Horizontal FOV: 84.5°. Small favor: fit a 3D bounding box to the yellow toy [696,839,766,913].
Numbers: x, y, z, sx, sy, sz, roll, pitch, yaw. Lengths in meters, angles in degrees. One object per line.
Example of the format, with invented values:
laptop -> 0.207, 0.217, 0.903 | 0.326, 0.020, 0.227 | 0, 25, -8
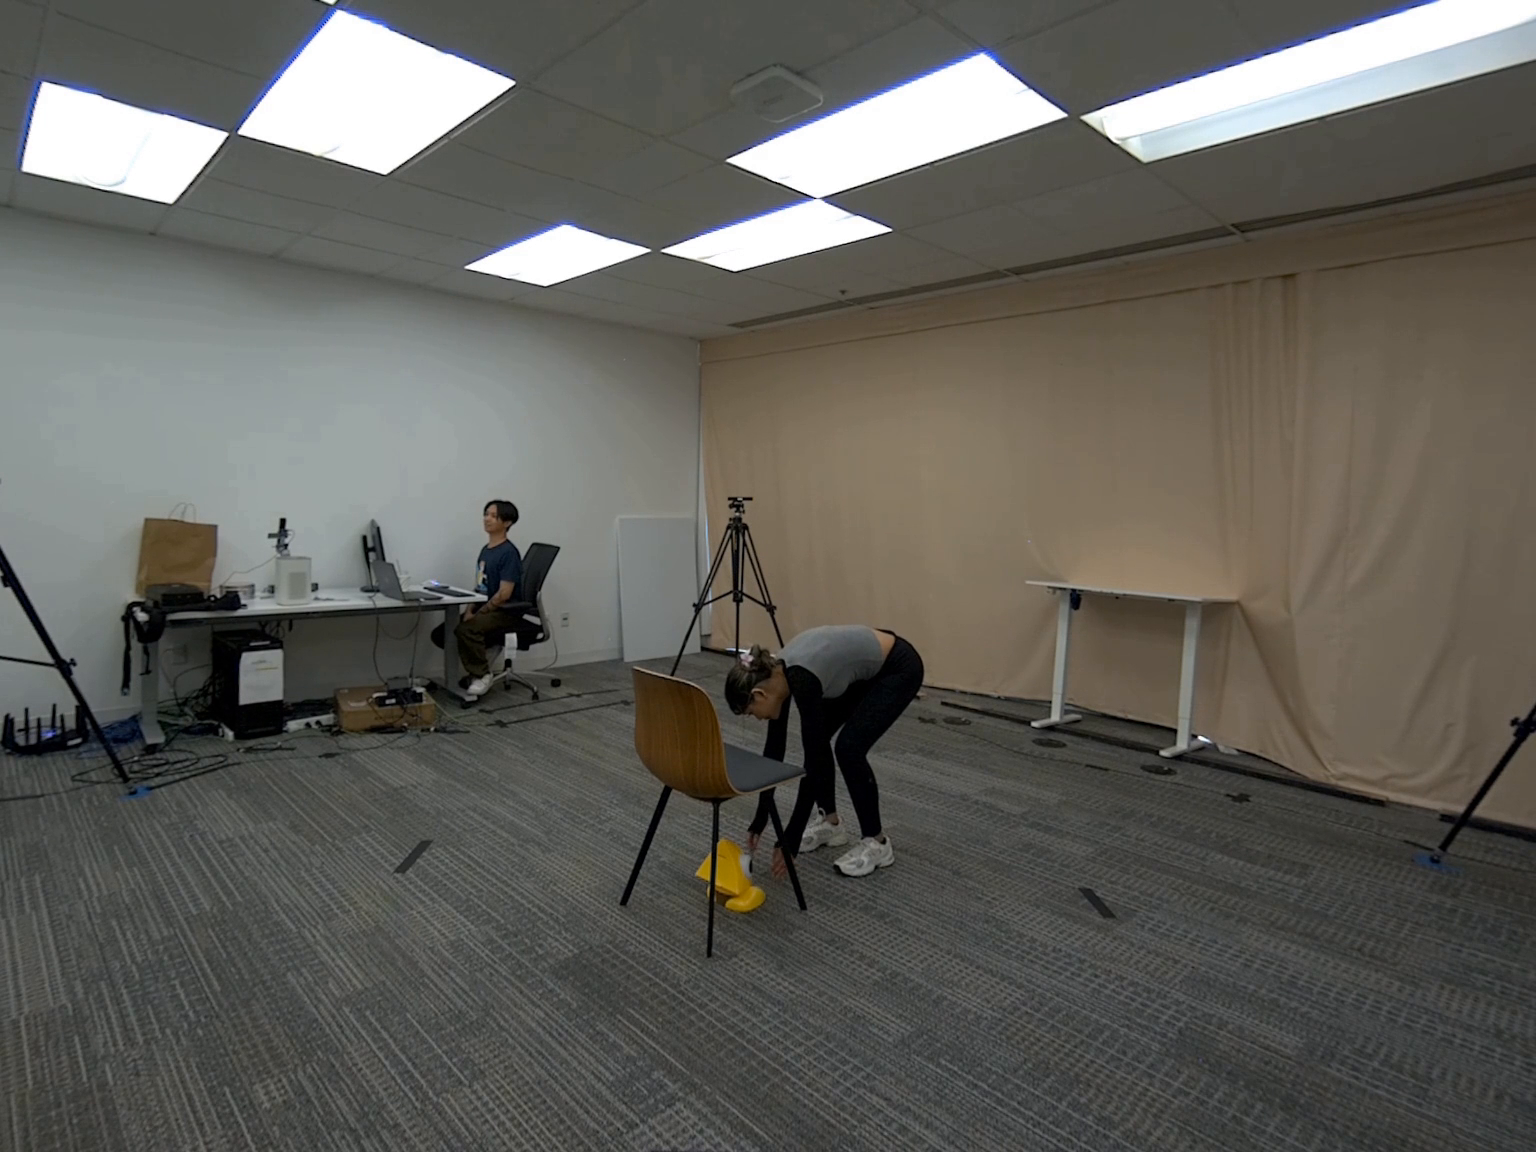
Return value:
yellow toy -> -0.119, 1.012, 2.932 | 0.210, 0.230, 0.189 | 4, 6, 41
